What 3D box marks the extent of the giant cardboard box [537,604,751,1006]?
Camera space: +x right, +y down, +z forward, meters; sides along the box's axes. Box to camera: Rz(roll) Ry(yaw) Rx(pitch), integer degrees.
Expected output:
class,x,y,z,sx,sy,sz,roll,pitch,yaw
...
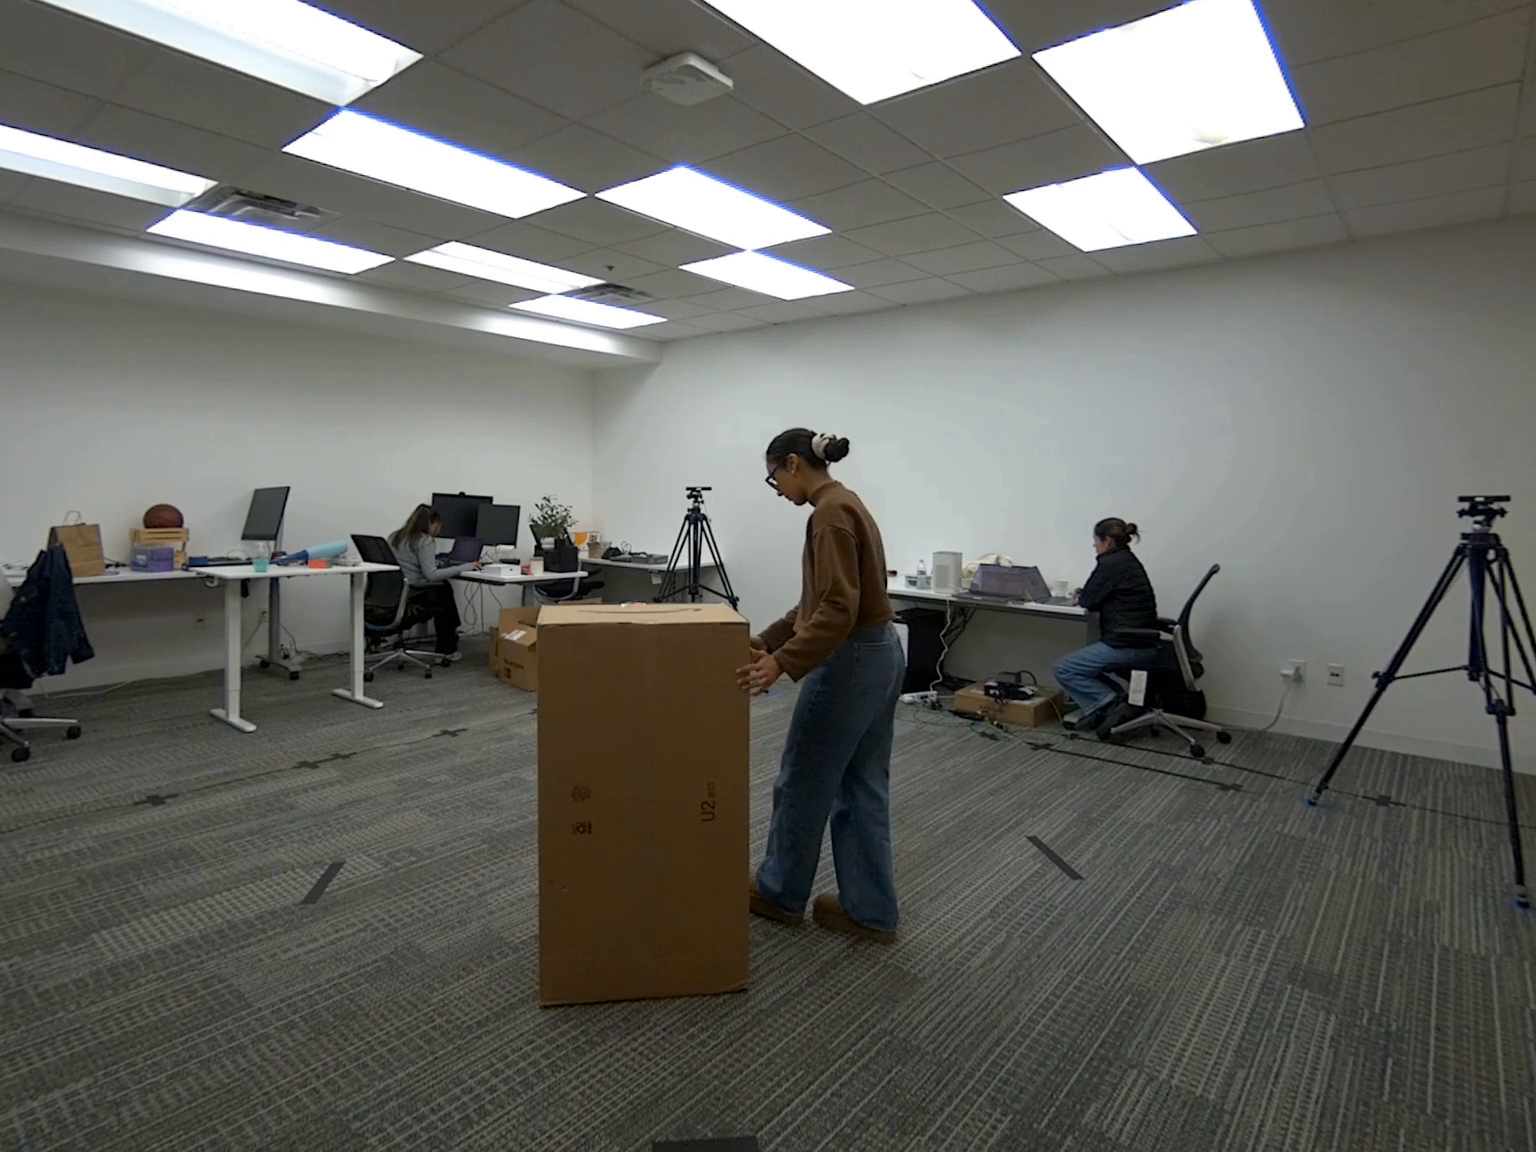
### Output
class,x,y,z,sx,sy,sz,roll,pitch,yaw
giant cardboard box,-0.387,0.615,2.484,0.571,1.023,0.432,0,3,-11
